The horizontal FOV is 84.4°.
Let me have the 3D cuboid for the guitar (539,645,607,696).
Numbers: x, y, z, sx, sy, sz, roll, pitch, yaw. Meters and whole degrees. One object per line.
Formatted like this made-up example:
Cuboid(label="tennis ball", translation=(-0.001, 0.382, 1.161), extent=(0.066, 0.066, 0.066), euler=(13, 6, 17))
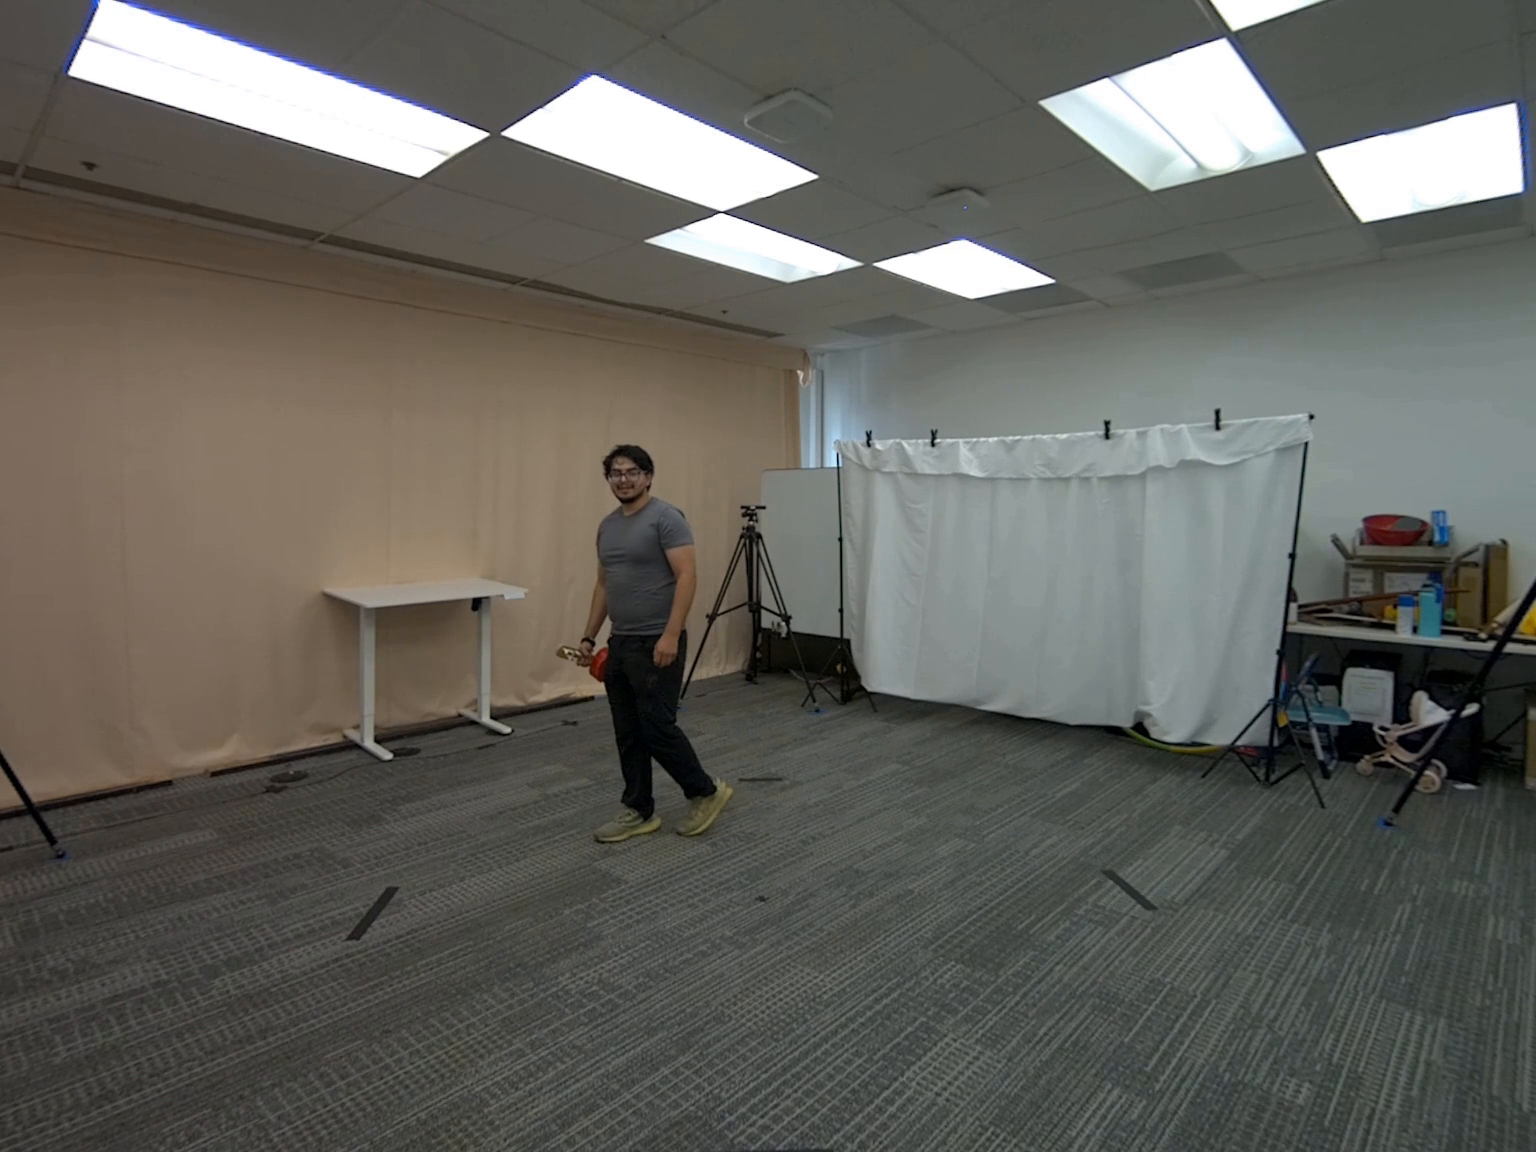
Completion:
Cuboid(label="guitar", translation=(-0.751, 0.411, 3.680), extent=(0.073, 0.193, 0.481), euler=(29, 9, 33))
